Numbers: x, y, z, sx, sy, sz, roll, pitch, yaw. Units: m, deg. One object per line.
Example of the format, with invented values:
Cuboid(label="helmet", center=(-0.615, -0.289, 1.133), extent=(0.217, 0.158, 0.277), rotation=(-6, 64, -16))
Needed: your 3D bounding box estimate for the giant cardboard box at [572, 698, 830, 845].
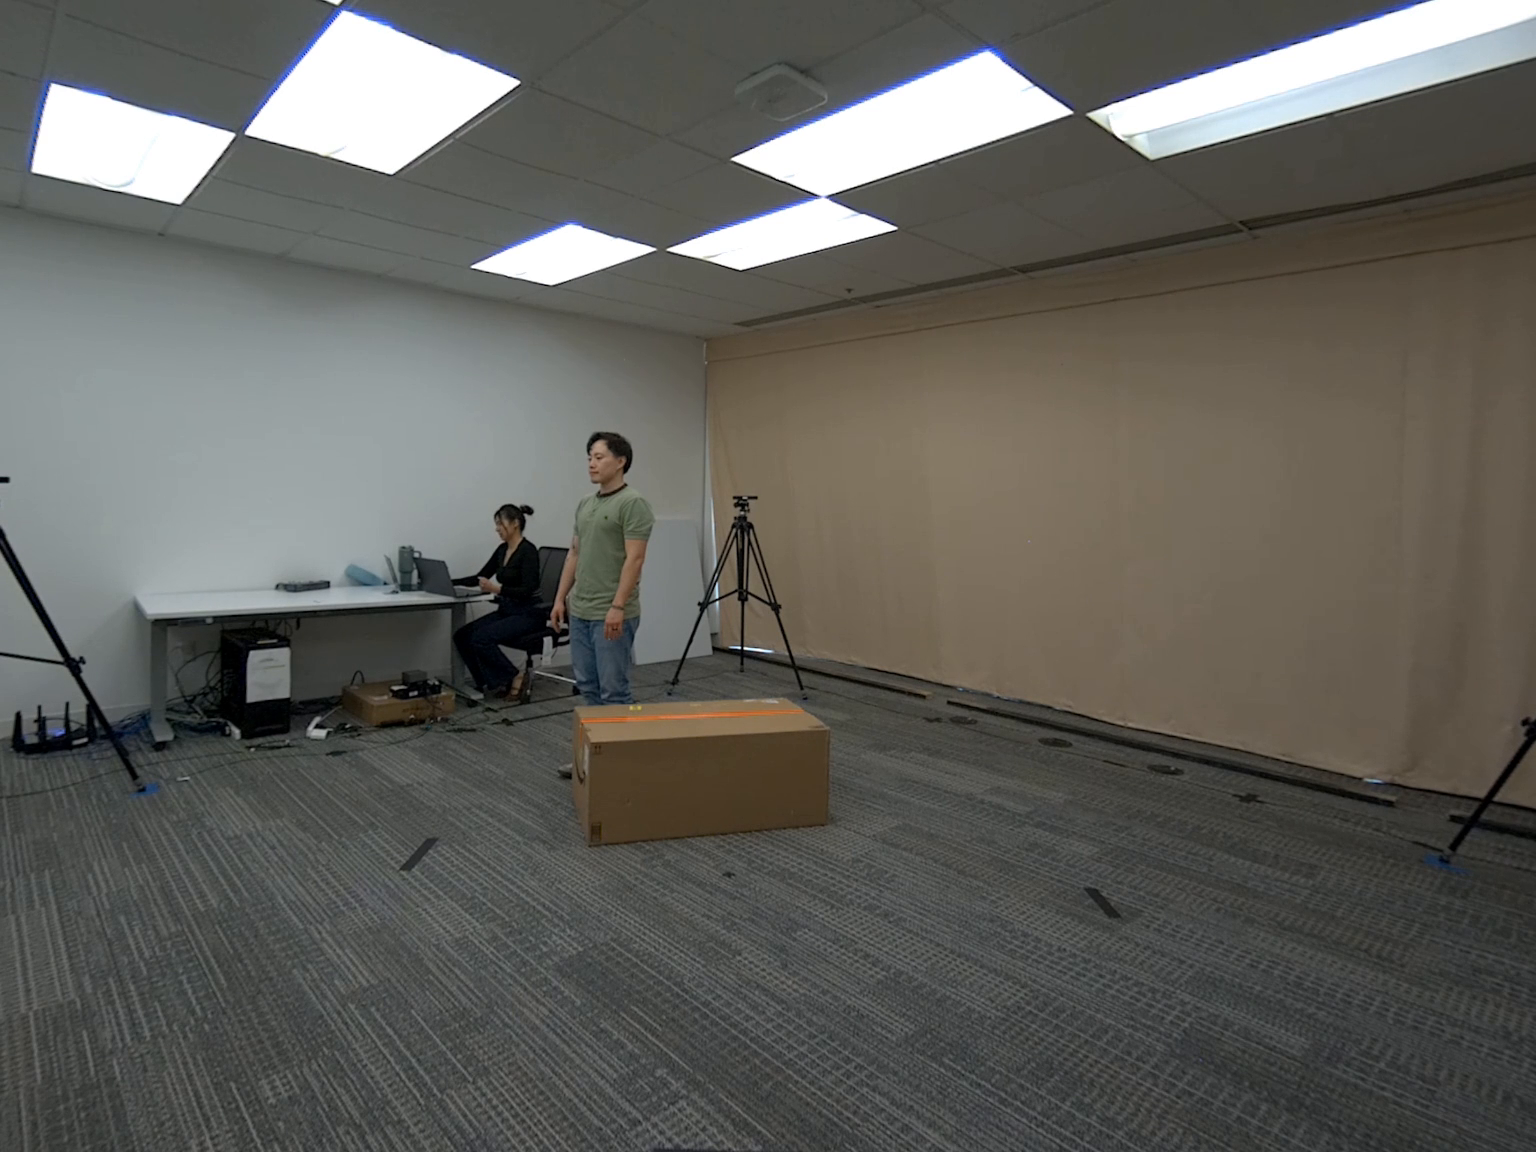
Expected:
Cuboid(label="giant cardboard box", center=(-0.319, 0.827, 3.719), extent=(1.012, 0.425, 0.586), rotation=(0, 3, -18))
